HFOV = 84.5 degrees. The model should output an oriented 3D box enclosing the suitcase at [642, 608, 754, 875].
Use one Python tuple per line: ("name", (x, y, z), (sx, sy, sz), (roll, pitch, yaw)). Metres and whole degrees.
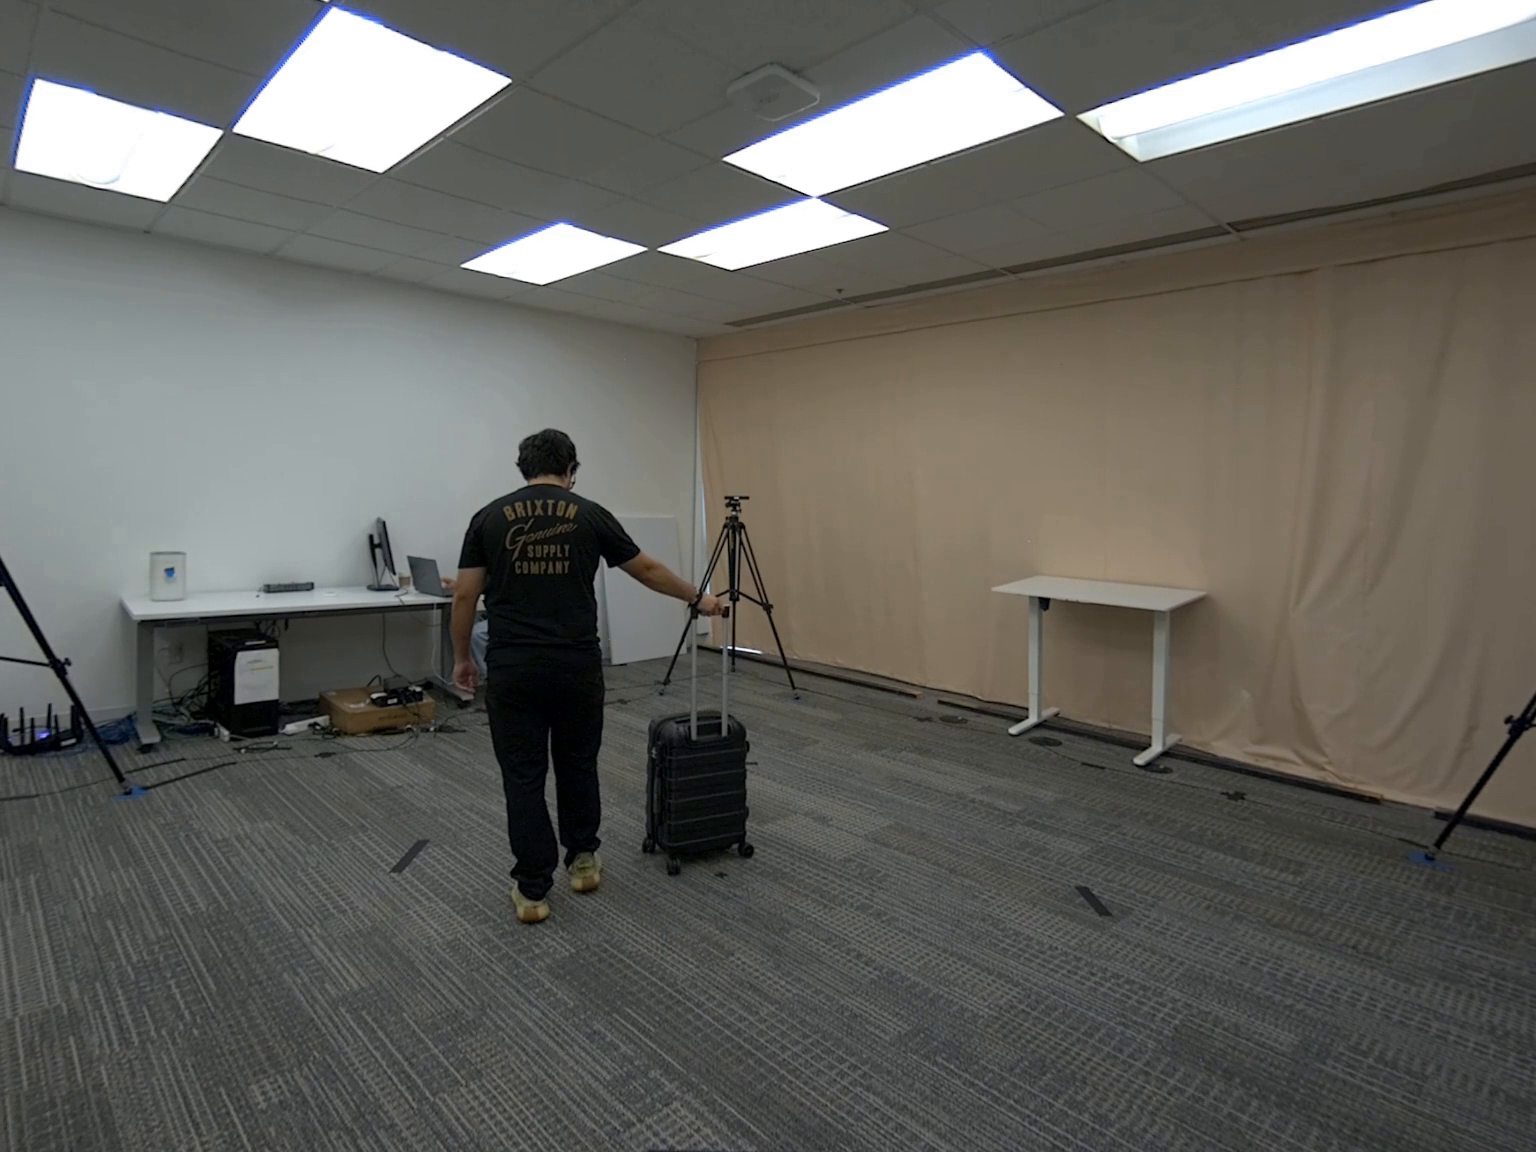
("suitcase", (-0.281, 0.607, 3.281), (0.376, 0.979, 0.262), (1, 0, -29))
